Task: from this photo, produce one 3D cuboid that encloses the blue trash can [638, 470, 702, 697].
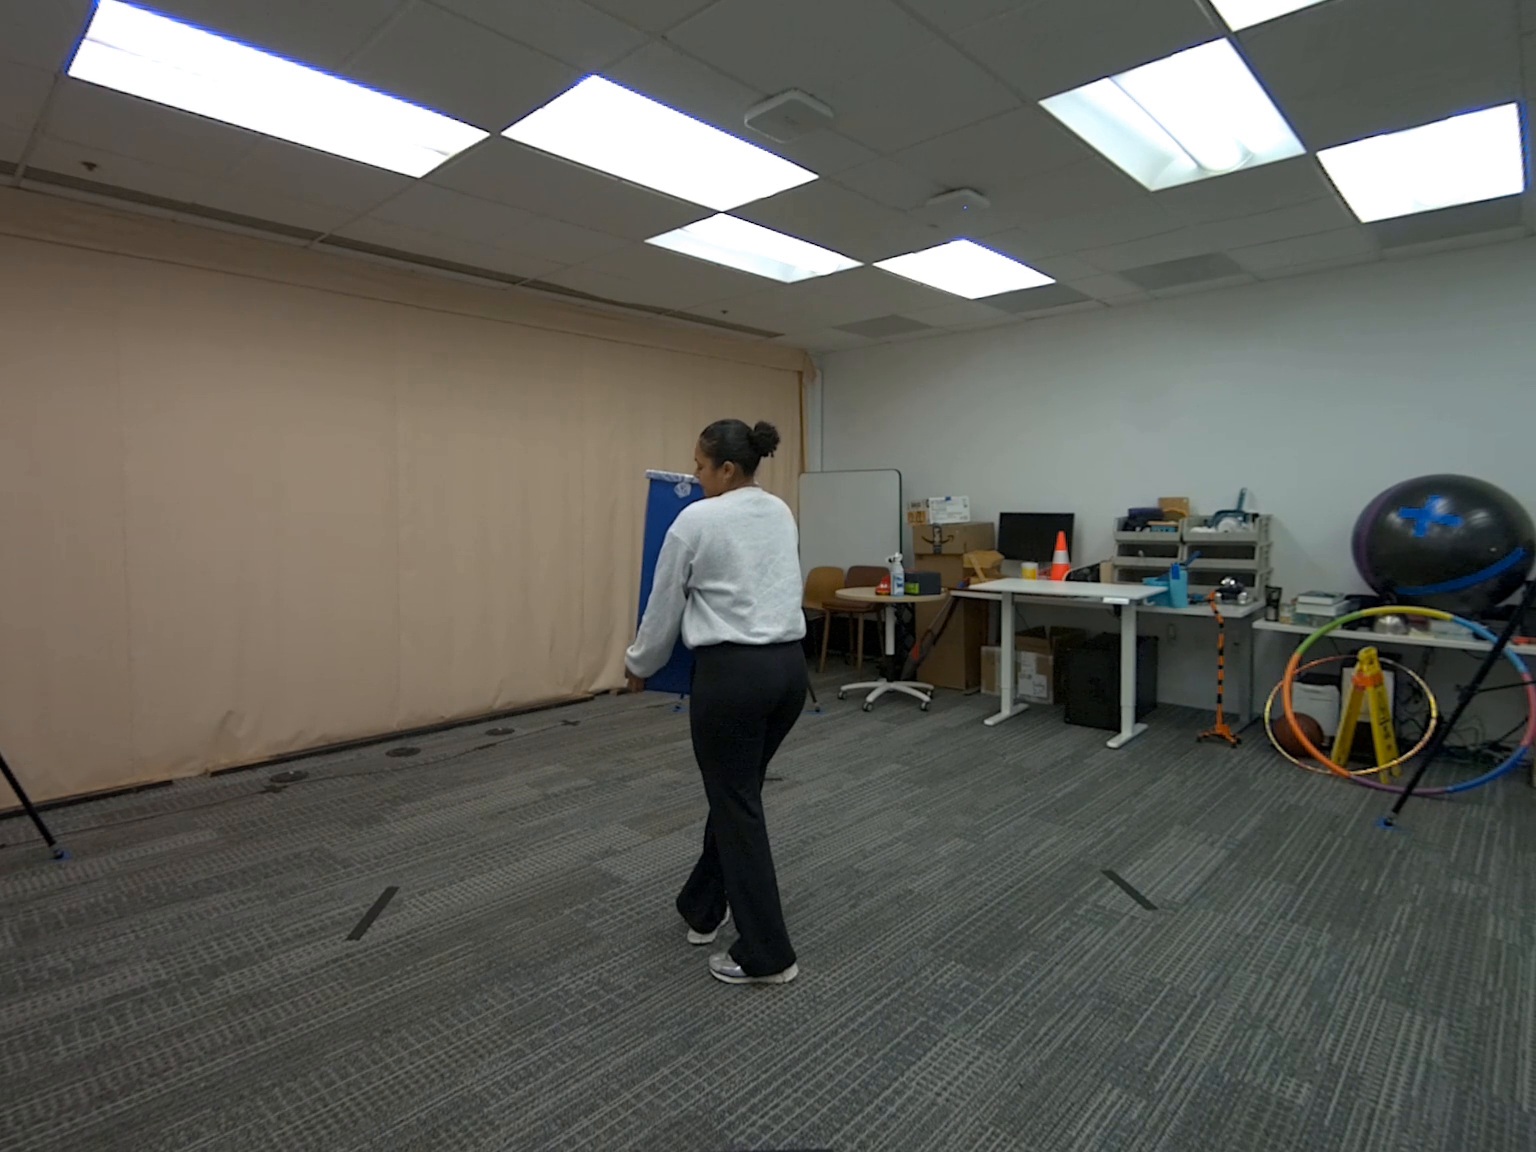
[{"bbox_3d":[-0.261,0.013,2.887,0.373,0.712,0.380,6,3,-4],"label":"blue trash can"}]
